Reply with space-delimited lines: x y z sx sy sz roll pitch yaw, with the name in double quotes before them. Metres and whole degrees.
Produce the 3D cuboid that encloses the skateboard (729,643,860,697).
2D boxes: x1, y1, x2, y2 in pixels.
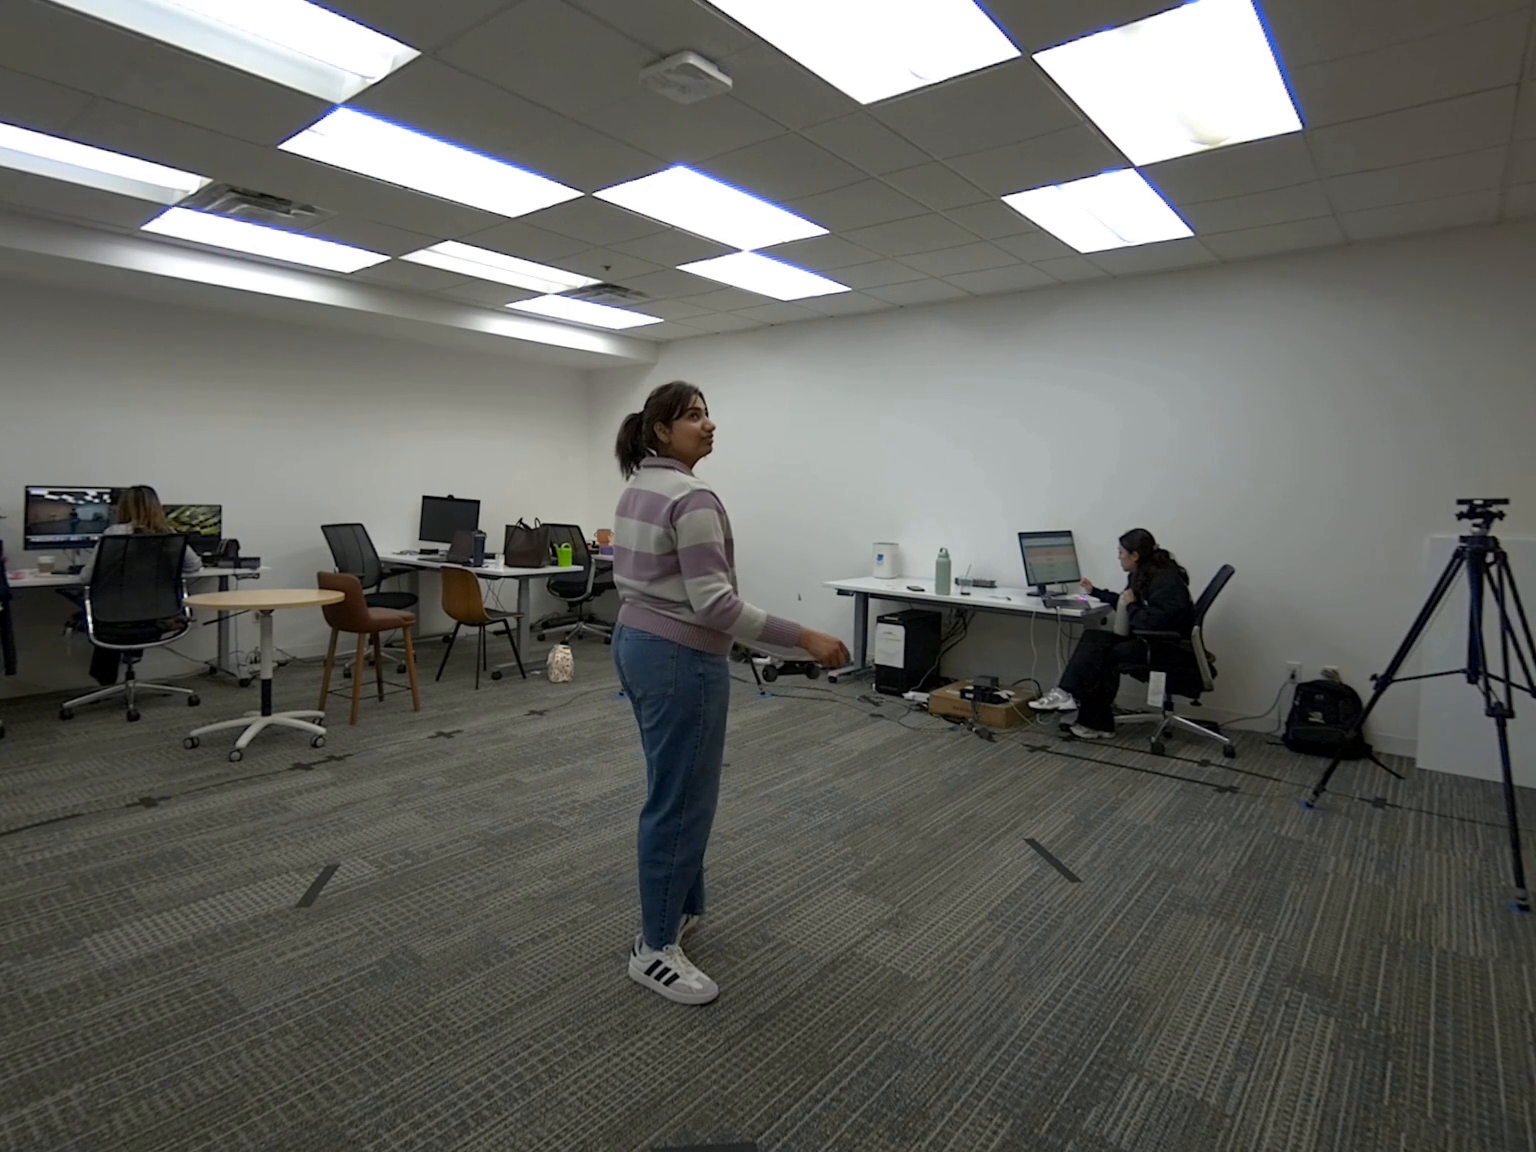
"skateboard" -0.048 0.223 2.606 0.188 0.110 0.811 4 4 -32
